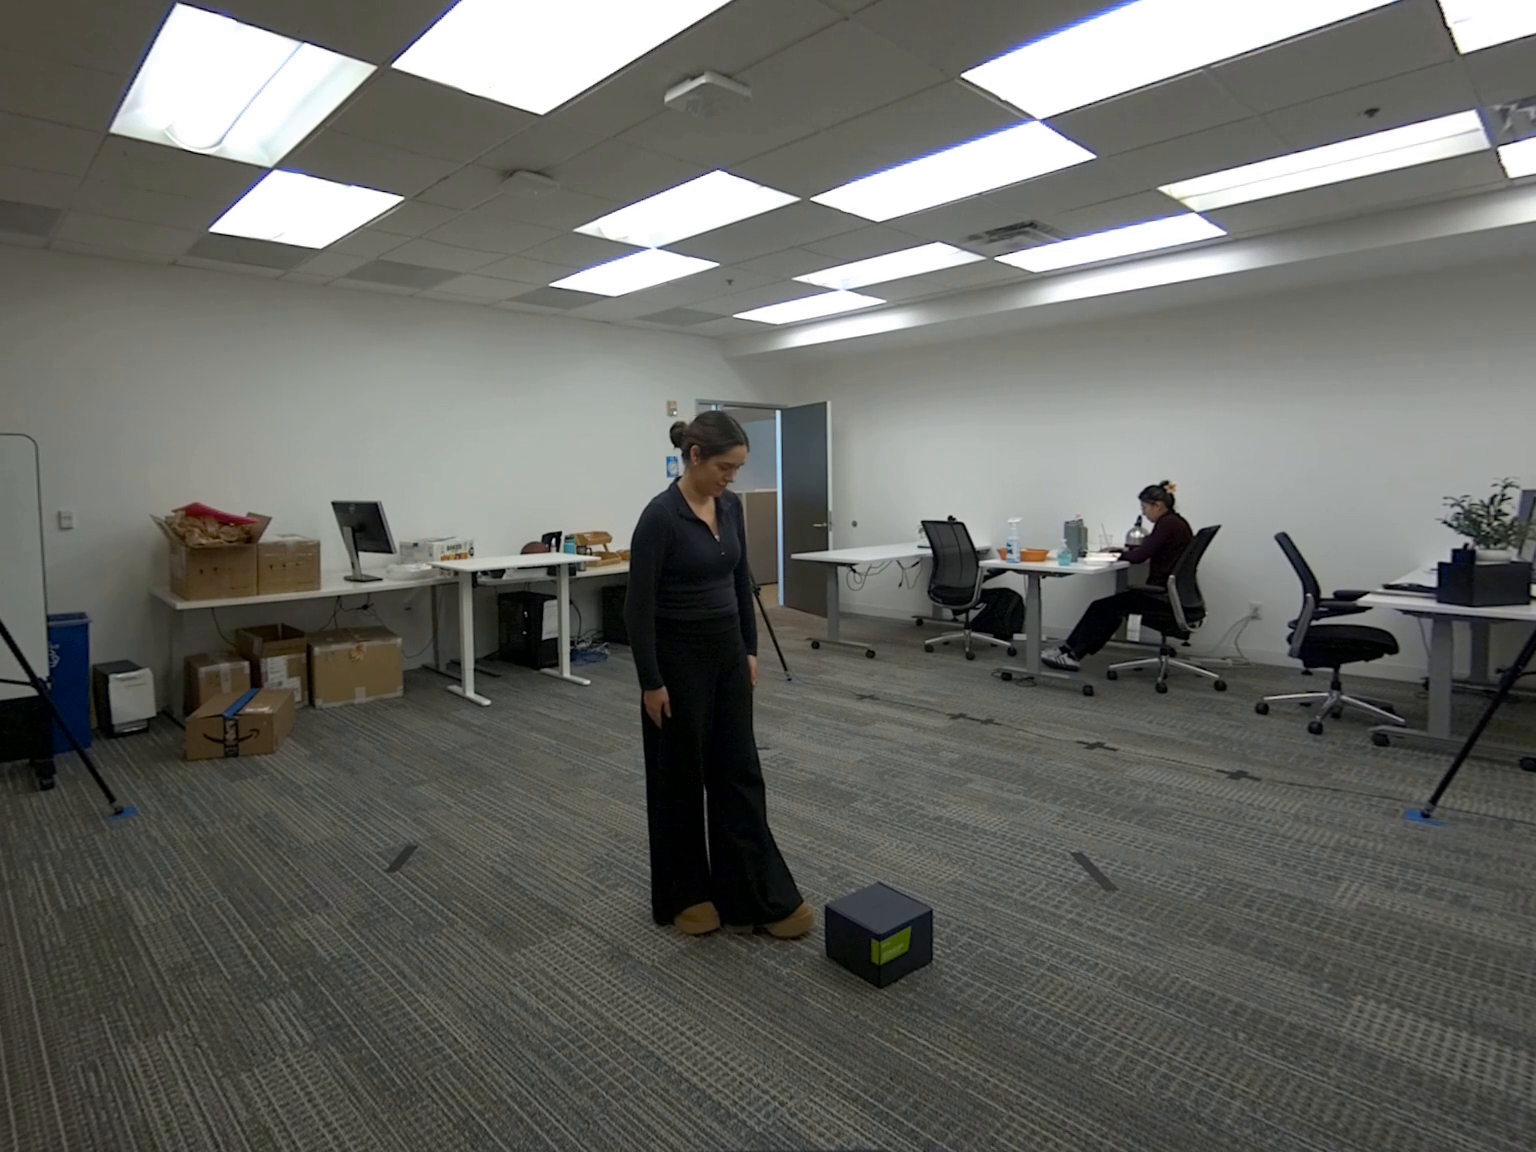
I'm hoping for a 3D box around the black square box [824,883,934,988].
[{"bbox_3d":[0.326,1.029,2.470,0.222,0.155,0.224,-5,7,-39],"label":"black square box"}]
